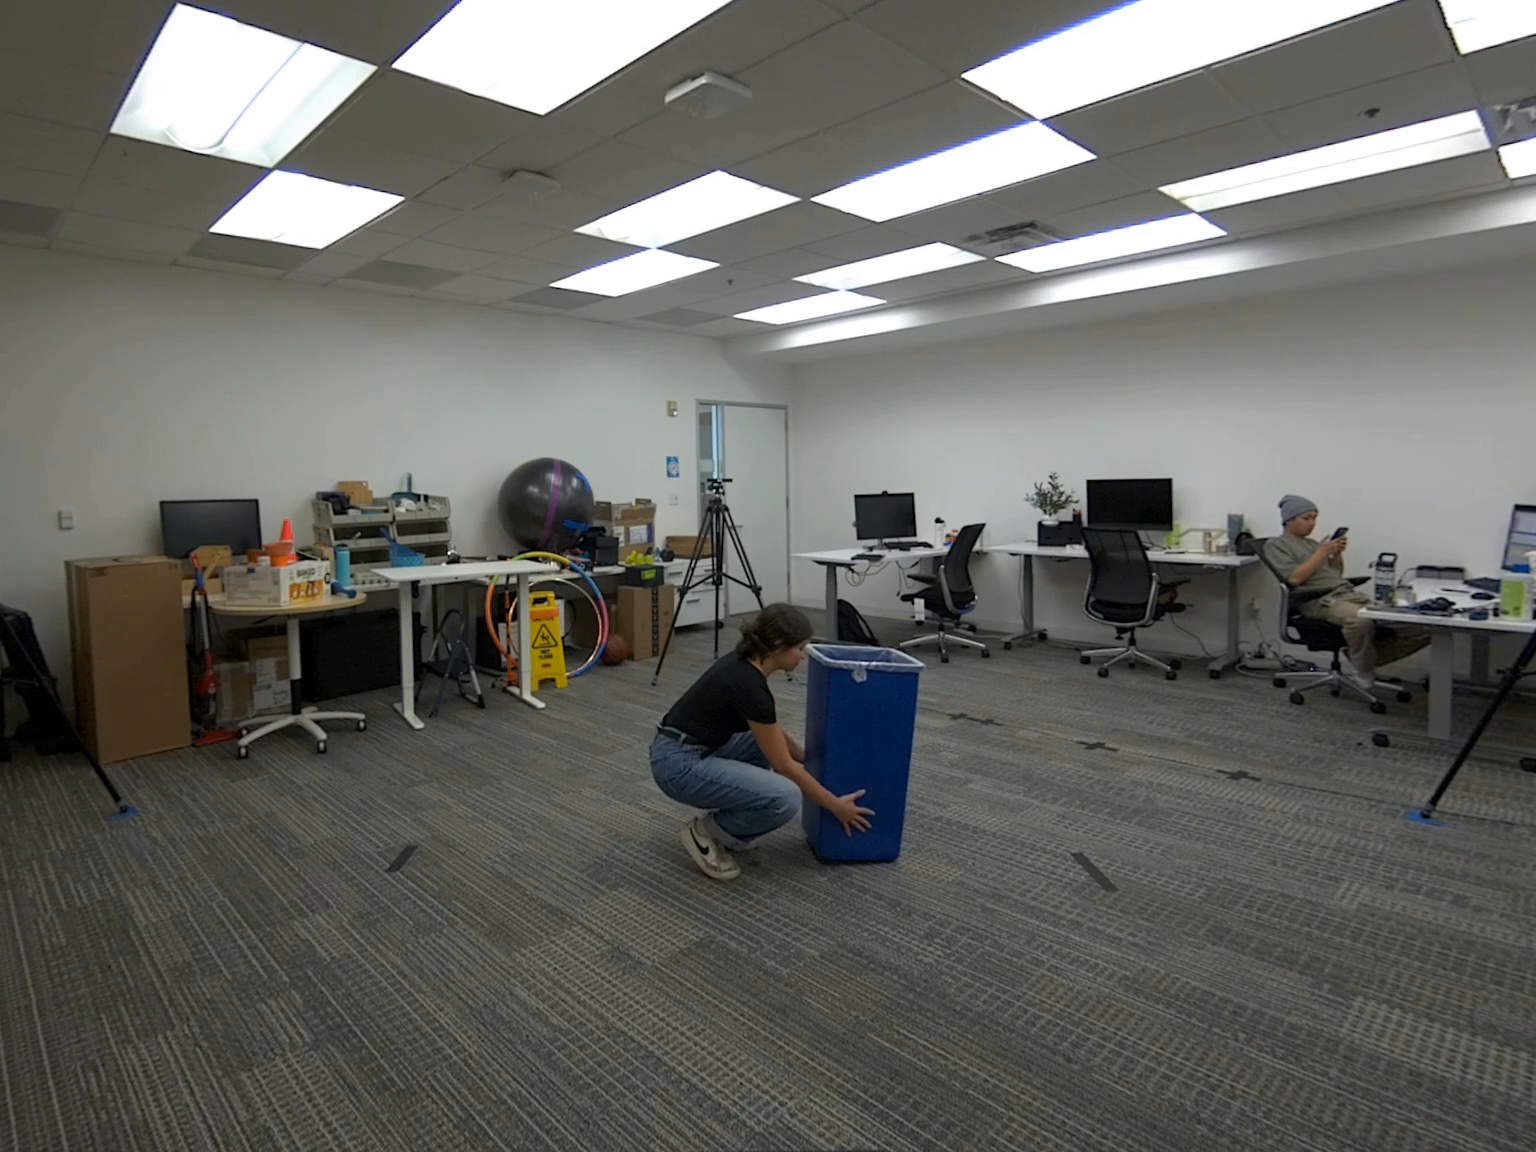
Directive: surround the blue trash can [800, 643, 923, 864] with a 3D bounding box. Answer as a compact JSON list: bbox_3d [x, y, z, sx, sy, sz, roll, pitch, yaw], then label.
[{"bbox_3d":[0.331,0.643,3.207,0.374,0.712,0.379,4,3,-10],"label":"blue trash can"}]
